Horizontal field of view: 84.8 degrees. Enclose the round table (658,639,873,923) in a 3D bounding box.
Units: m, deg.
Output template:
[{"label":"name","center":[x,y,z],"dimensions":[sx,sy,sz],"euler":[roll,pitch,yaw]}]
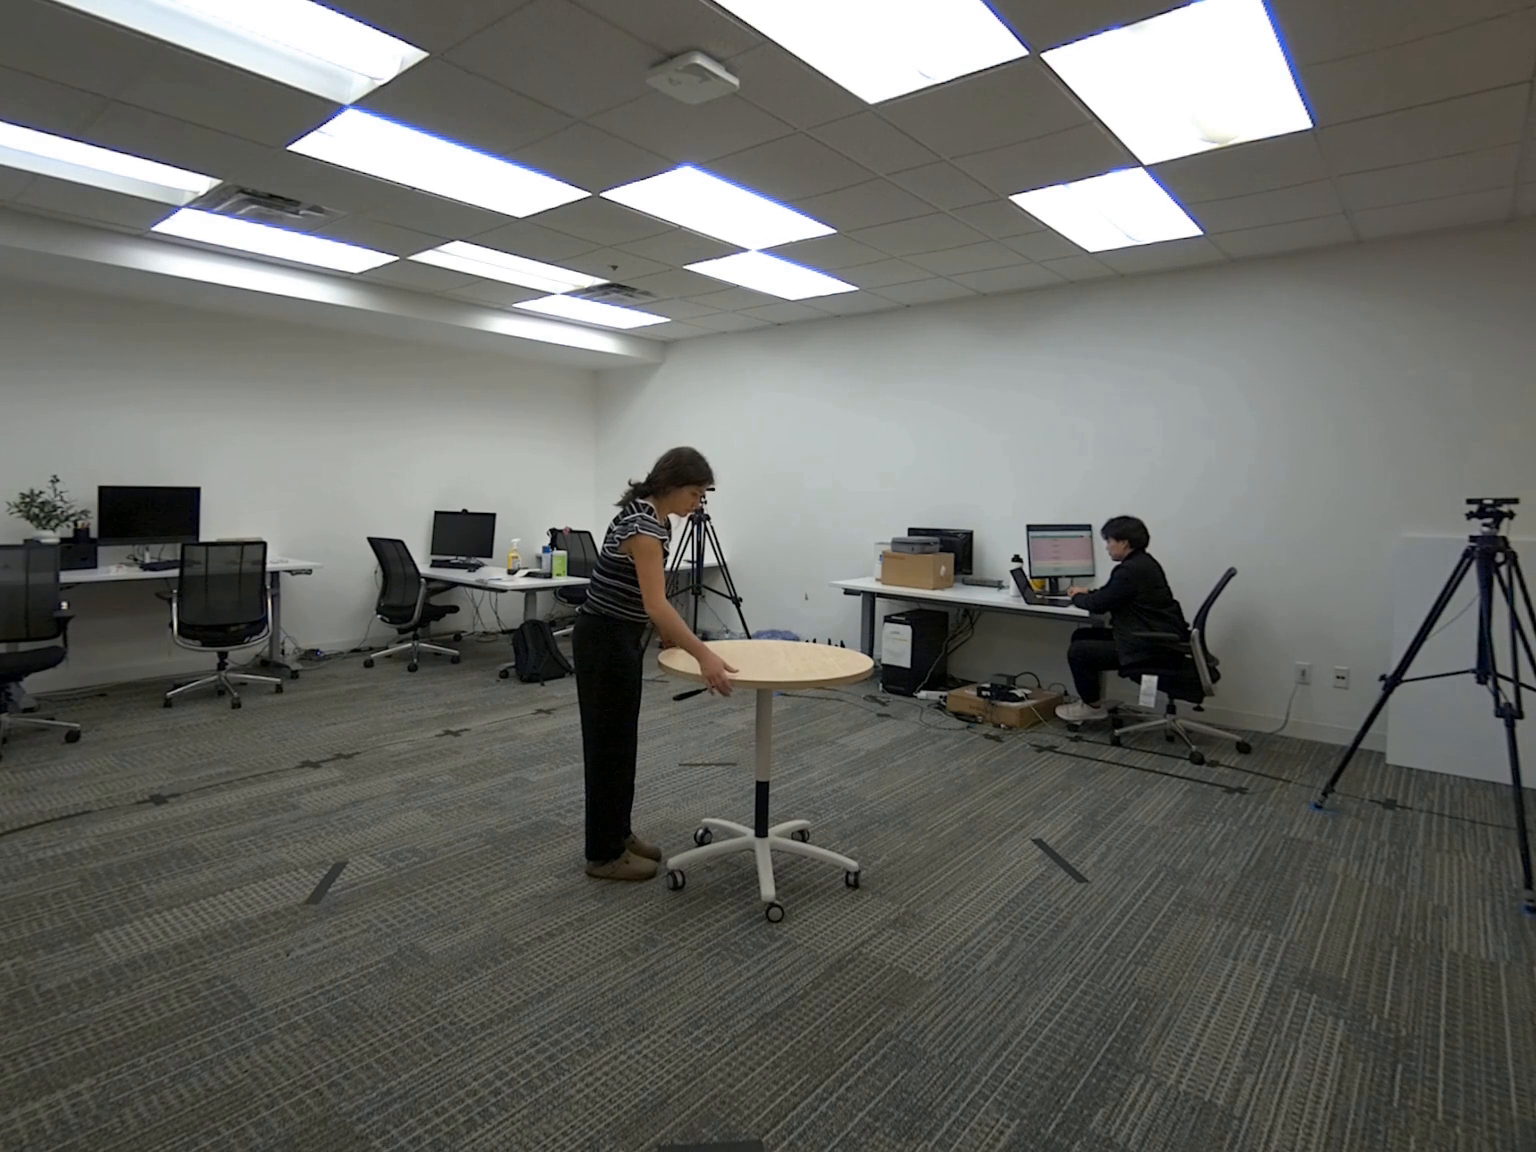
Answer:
[{"label":"round table","center":[-0.009,0.683,3.068],"dimensions":[0.784,0.784,0.789],"euler":[1,4,-2]}]
